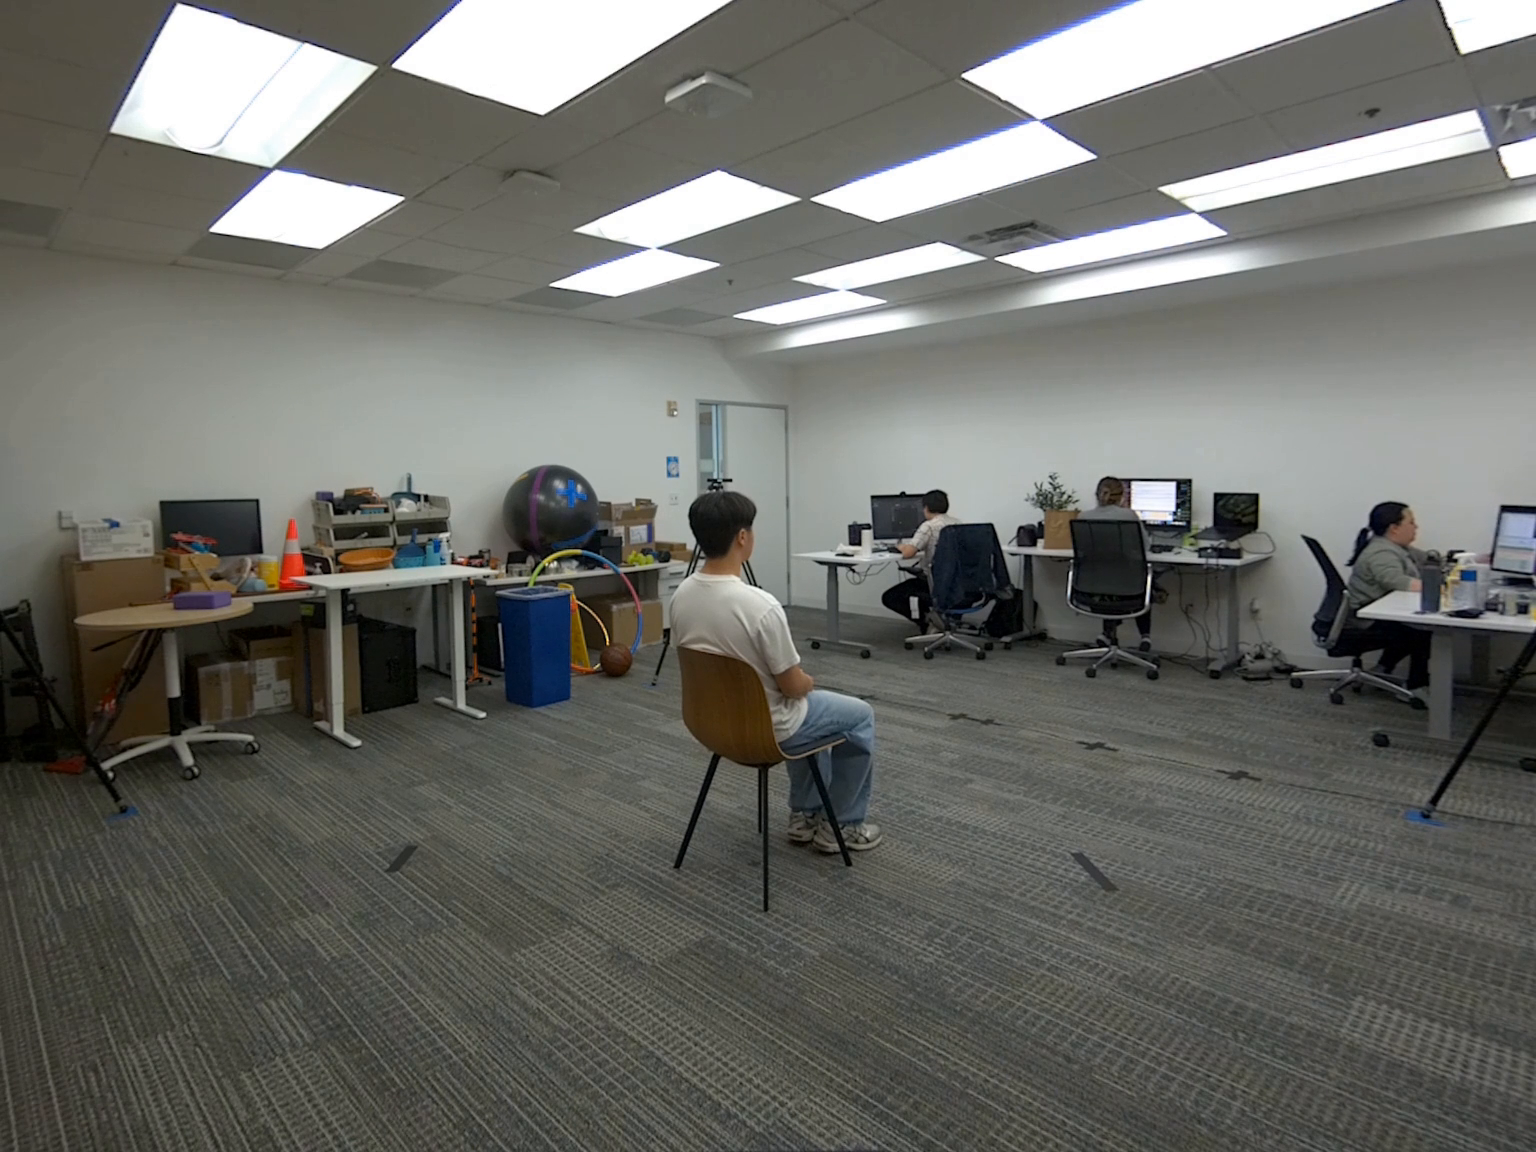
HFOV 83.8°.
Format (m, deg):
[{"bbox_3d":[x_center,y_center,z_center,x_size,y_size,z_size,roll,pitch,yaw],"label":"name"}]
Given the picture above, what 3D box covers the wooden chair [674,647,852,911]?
[{"bbox_3d":[-0.022,0.626,3.039,0.493,0.871,0.511,5,11,44],"label":"wooden chair"}]
